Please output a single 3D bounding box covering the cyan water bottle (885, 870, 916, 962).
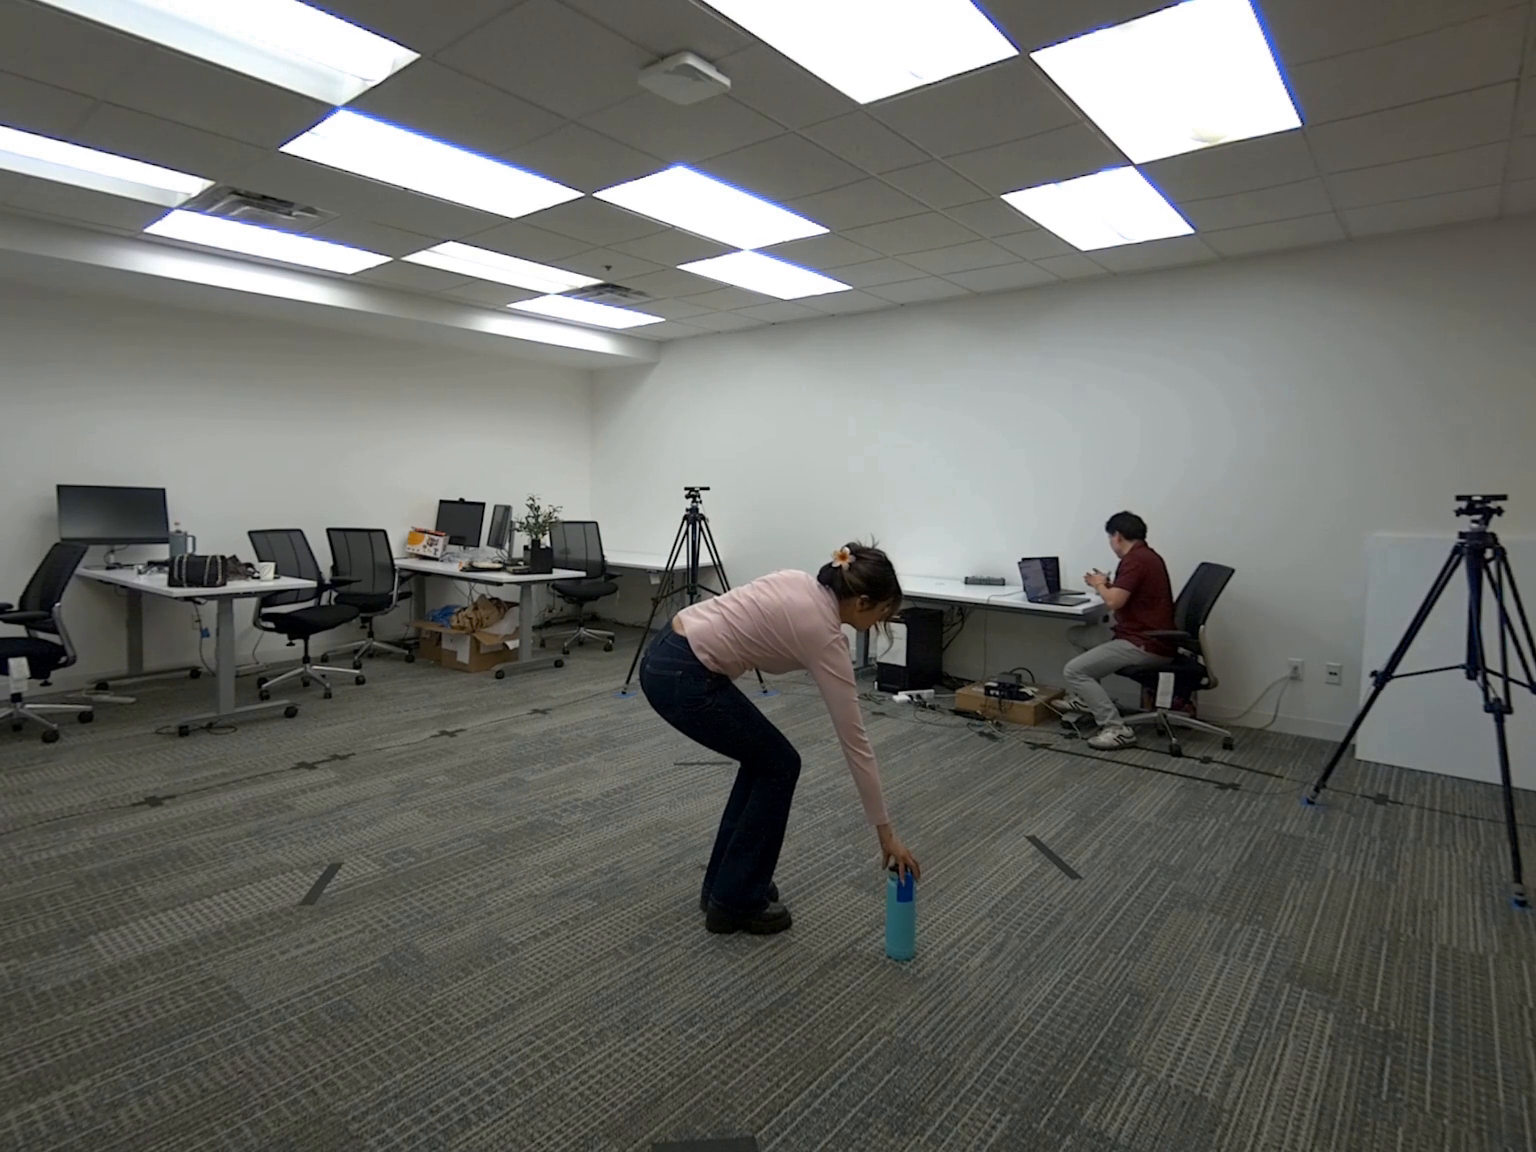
[{"bbox_3d":[0.393,0.989,2.559,0.092,0.282,0.093,-1,4,-2],"label":"cyan water bottle"}]
